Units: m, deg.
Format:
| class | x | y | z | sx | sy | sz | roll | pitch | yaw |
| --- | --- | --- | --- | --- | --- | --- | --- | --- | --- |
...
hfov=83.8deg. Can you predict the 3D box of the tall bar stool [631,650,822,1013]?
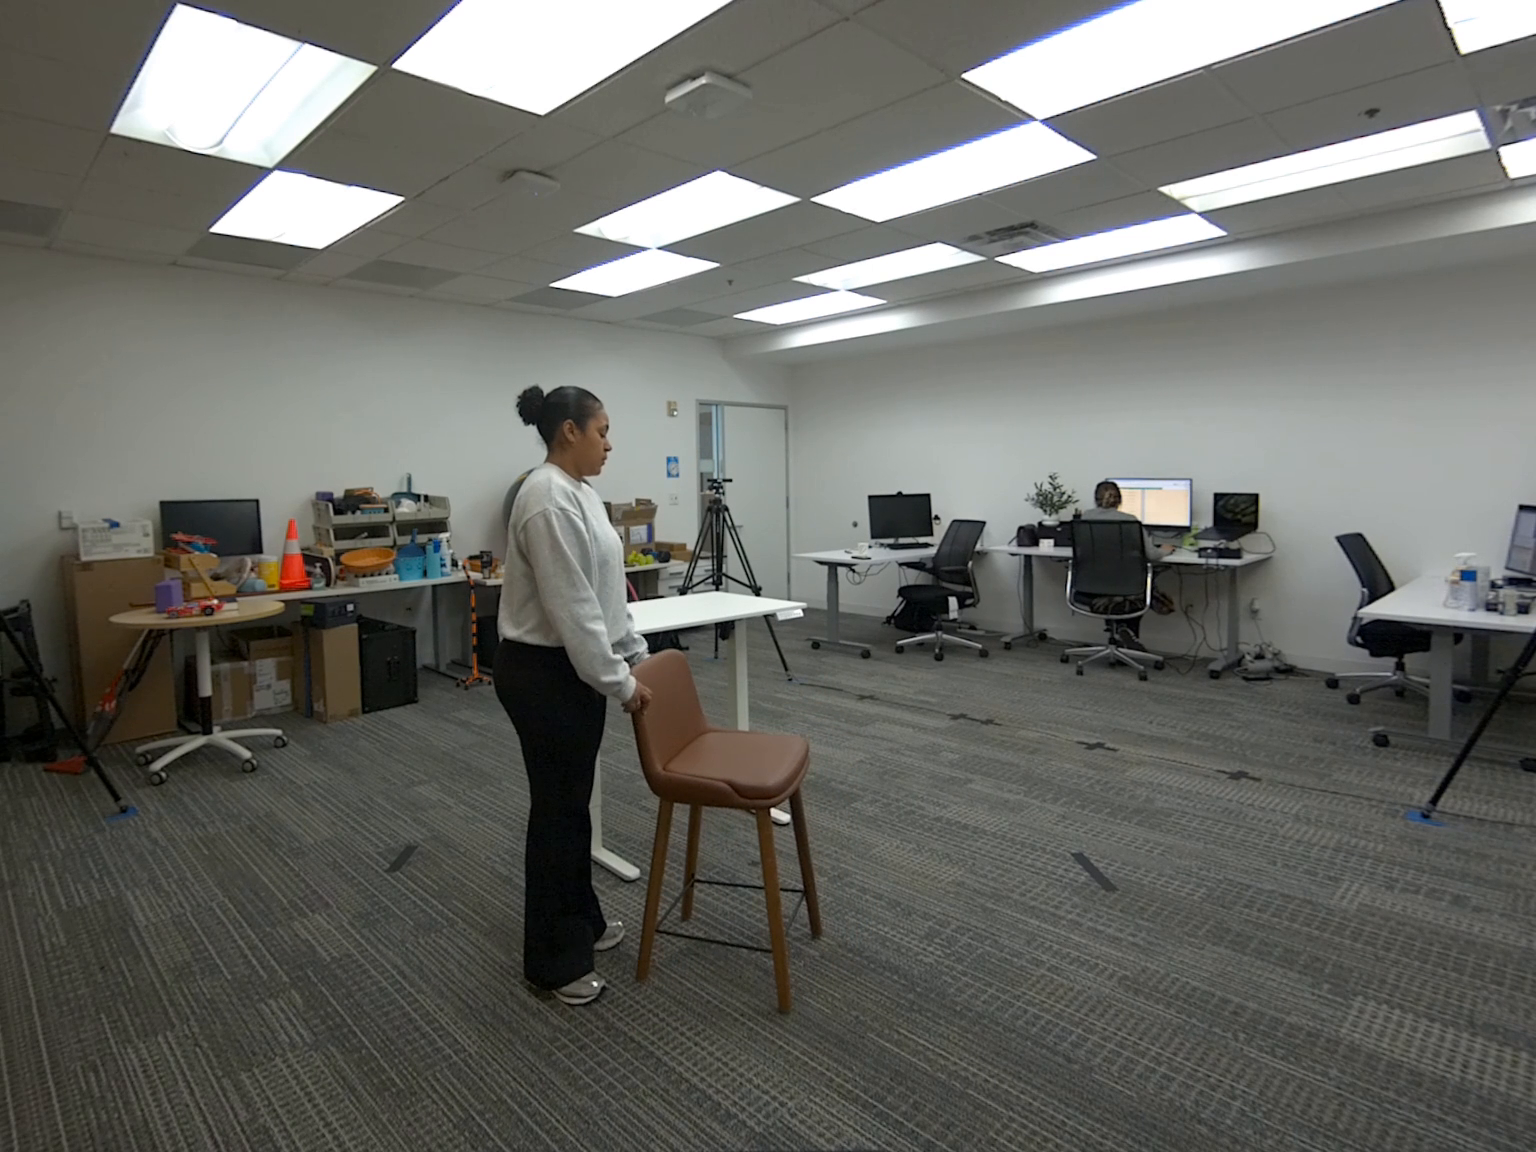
| class | x | y | z | sx | sy | sz | roll | pitch | yaw |
| --- | --- | --- | --- | --- | --- | --- | --- | --- | --- |
| tall bar stool | -0.123 | 0.684 | 2.474 | 0.476 | 0.887 | 0.450 | -2 | 3 | 18 |
